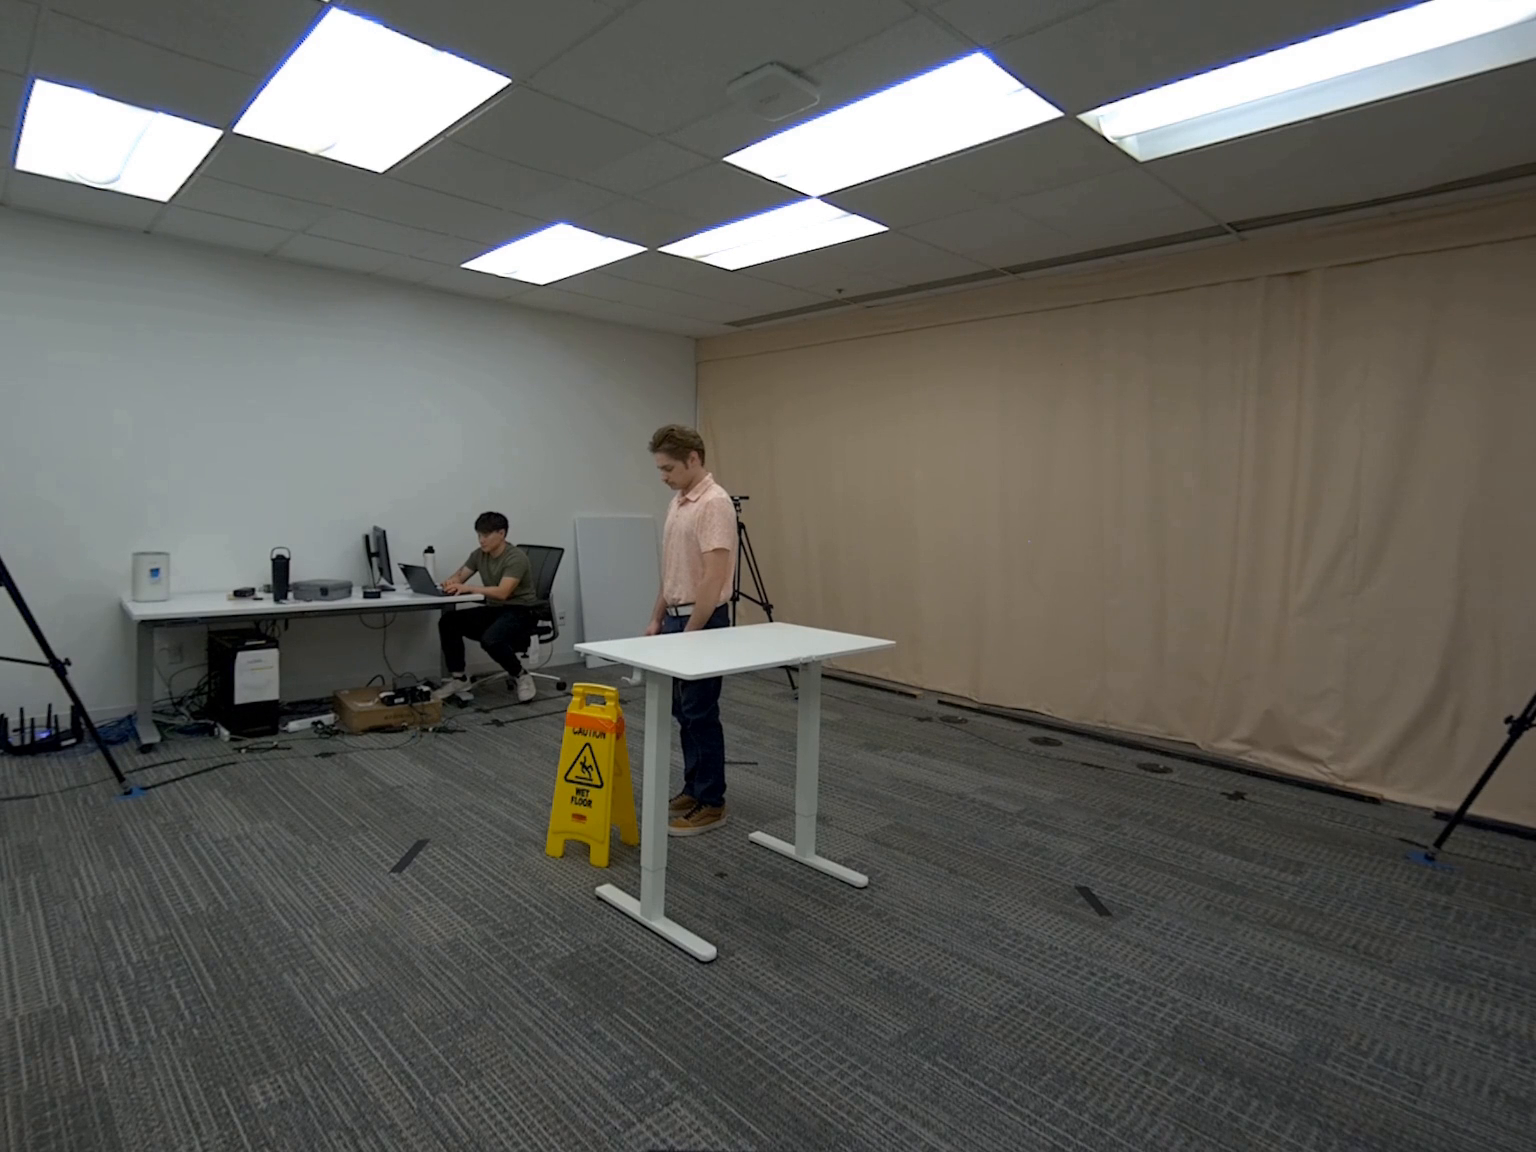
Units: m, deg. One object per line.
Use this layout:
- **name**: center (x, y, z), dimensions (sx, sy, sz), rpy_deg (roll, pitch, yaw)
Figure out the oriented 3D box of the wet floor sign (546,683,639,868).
- **wet floor sign**: center (-0.686, 0.752, 3.290), dimensions (0.287, 0.644, 0.285), rpy_deg (4, 3, 20)
